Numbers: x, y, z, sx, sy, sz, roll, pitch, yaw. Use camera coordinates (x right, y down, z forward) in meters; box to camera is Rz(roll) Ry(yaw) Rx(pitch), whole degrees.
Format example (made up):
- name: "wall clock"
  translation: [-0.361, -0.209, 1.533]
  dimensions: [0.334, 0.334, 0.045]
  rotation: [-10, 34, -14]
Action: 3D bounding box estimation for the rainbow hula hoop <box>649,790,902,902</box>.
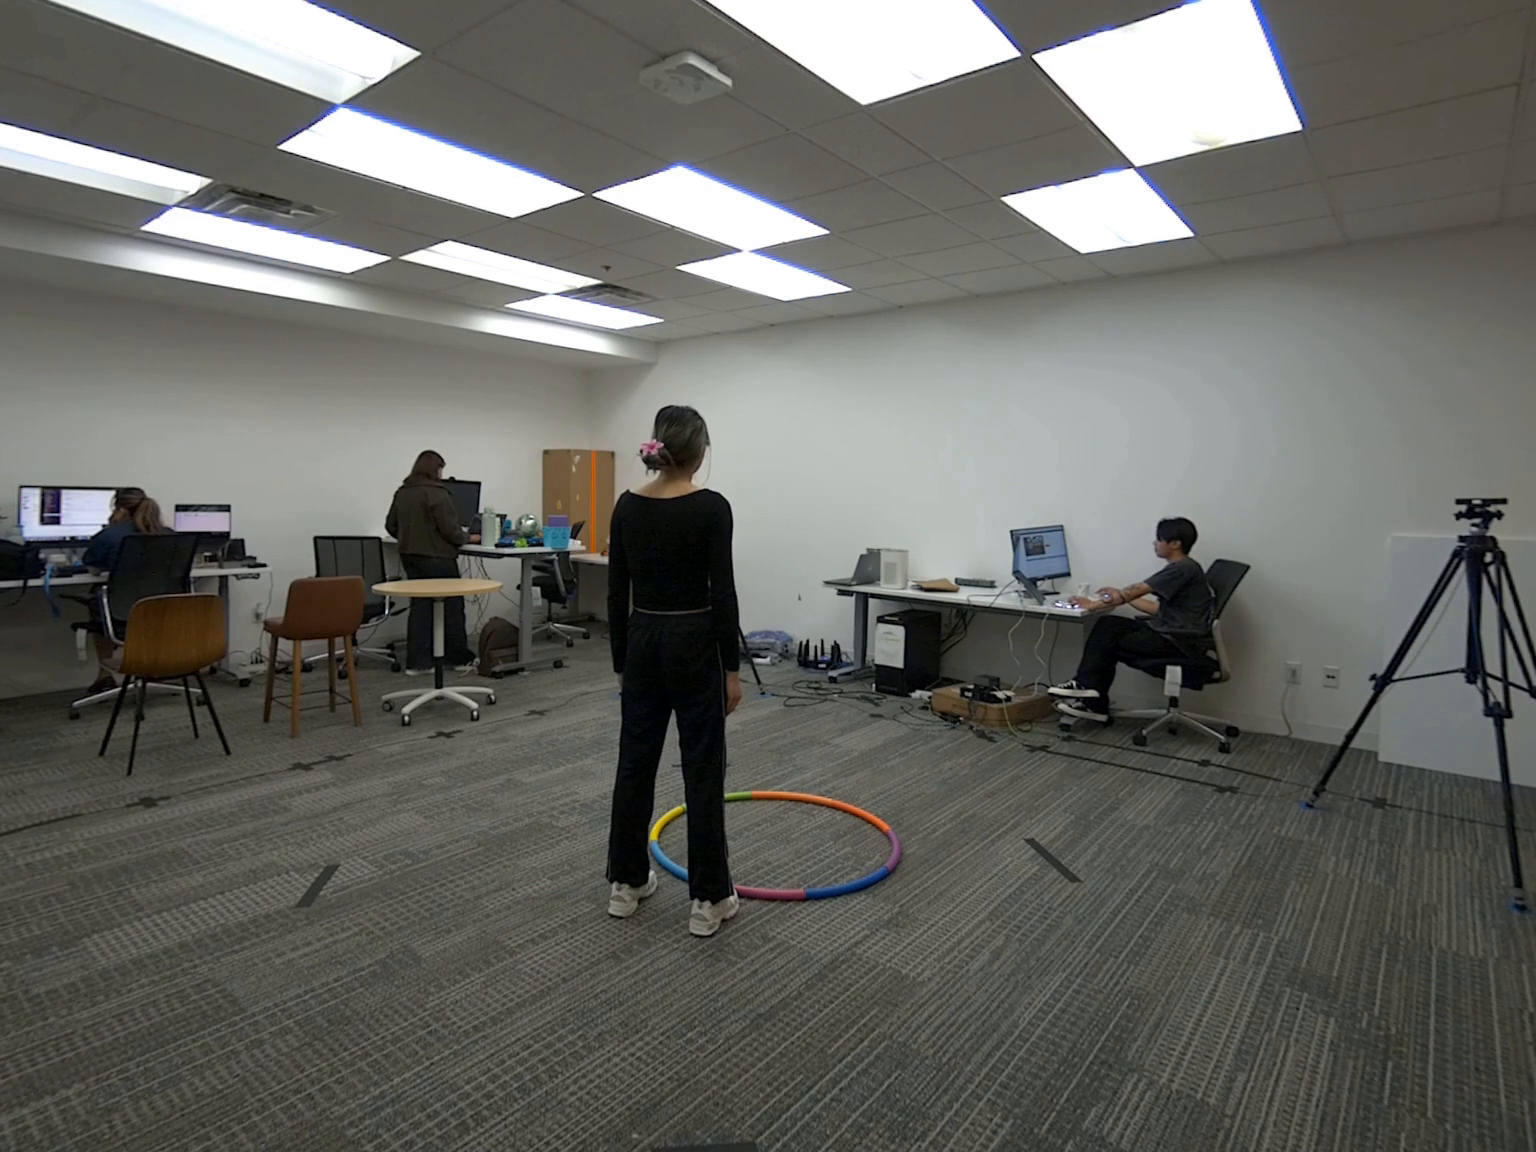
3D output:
- name: "rainbow hula hoop"
  translation: [0.016, 1.021, 3.362]
  dimensions: [0.978, 0.035, 0.984]
  rotation: [1, 6, -2]
